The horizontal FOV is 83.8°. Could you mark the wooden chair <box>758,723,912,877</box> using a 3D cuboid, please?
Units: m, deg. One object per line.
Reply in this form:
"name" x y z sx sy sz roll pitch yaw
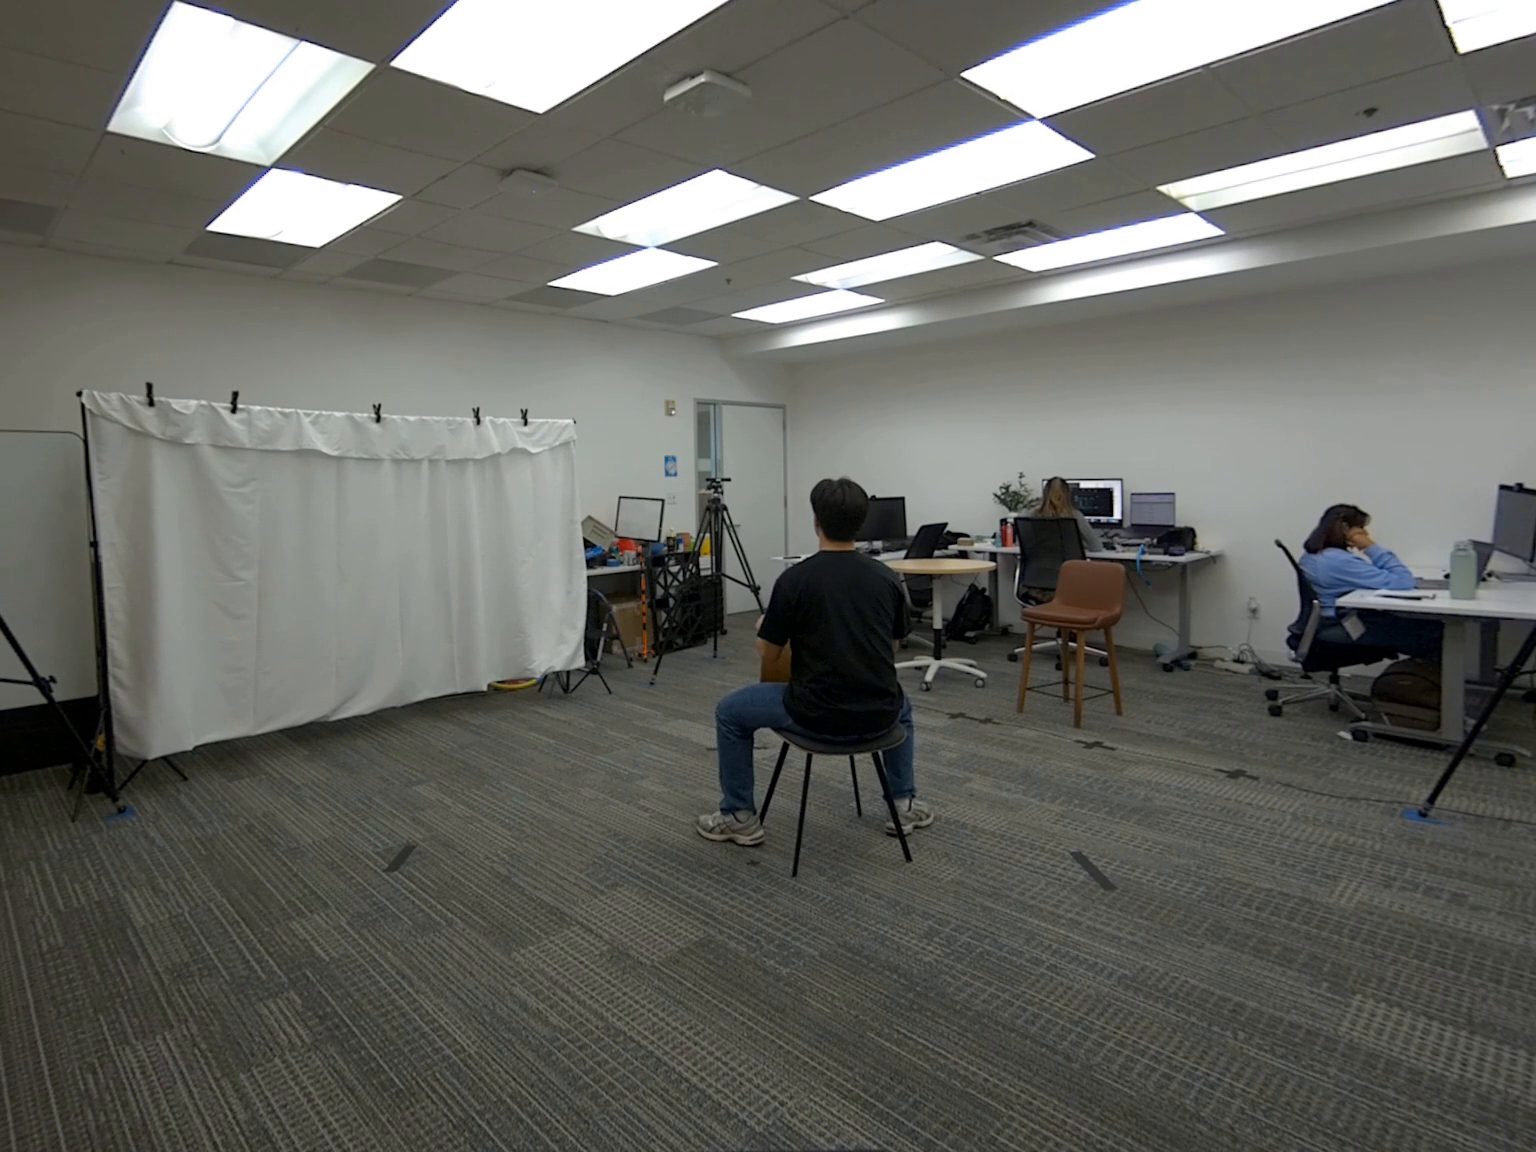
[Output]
"wooden chair" 0.234 0.599 3.217 0.471 0.877 0.531 -1 1 -16
